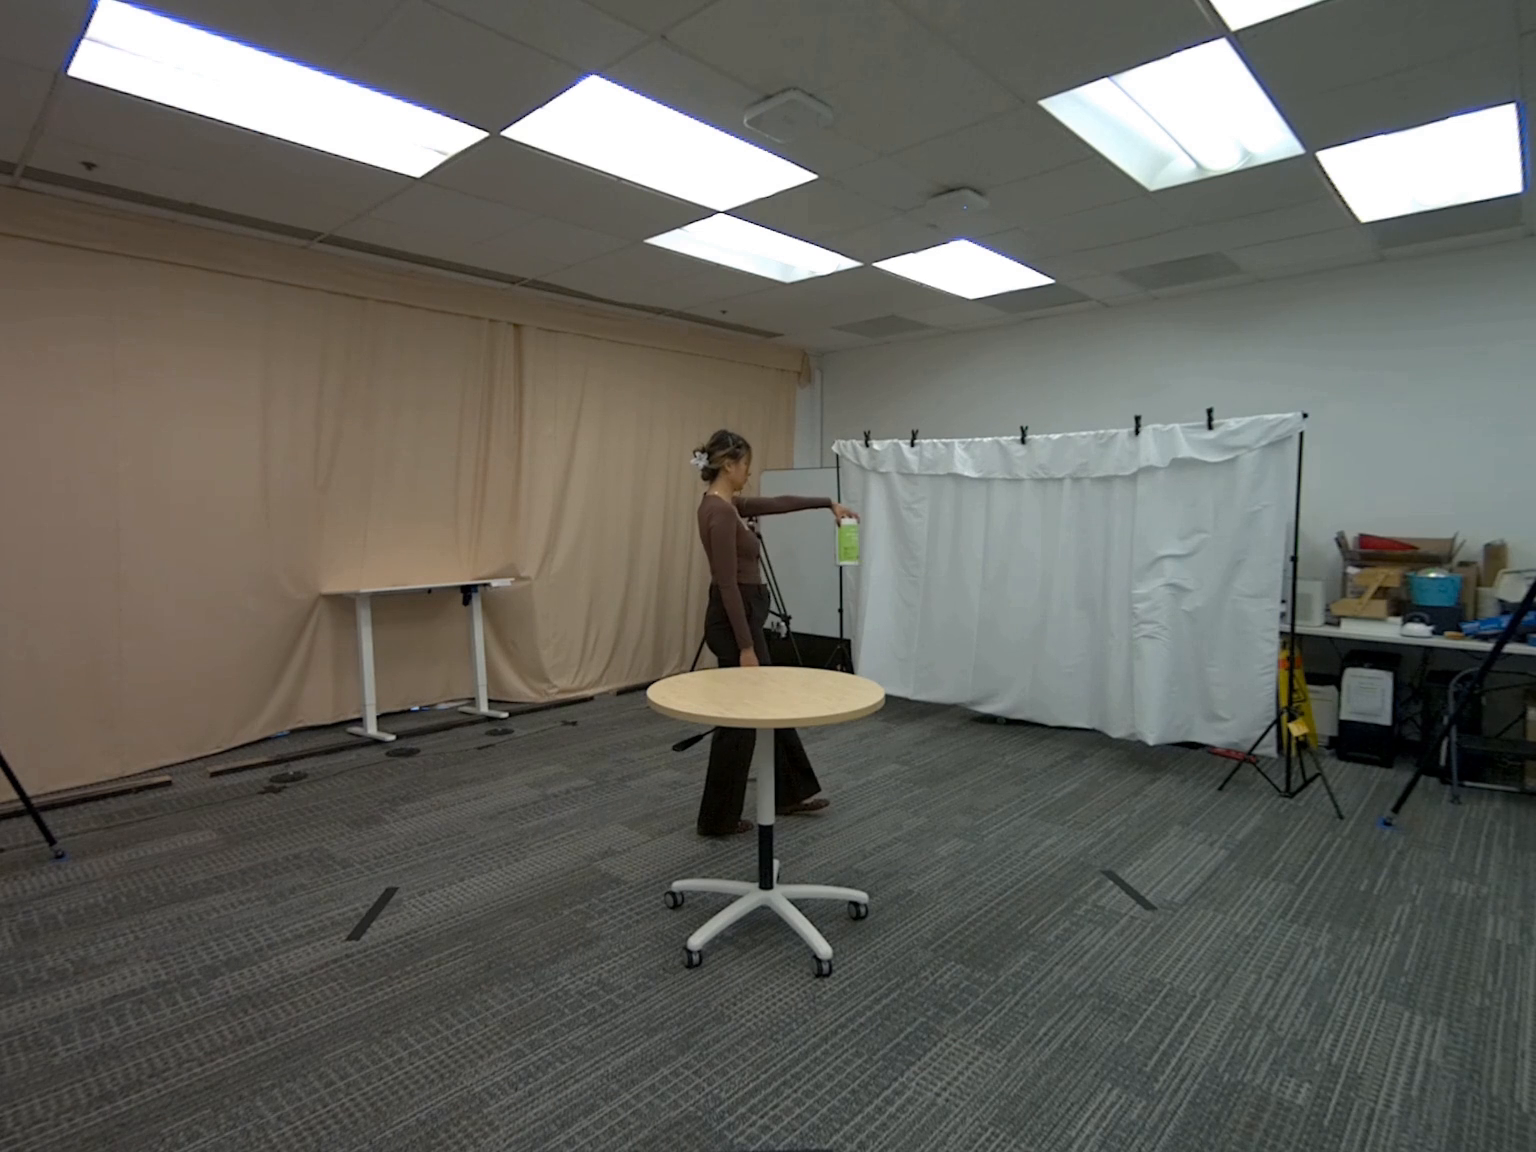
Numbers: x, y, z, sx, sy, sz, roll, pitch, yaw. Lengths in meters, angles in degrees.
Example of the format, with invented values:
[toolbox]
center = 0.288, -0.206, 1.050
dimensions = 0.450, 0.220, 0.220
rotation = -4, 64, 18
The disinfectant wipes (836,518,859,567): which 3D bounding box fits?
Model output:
[disinfectant wipes]
center = 0.363, -0.155, 3.867
dimensions = 0.118, 0.217, 0.118
rotation = 0, 2, -2
